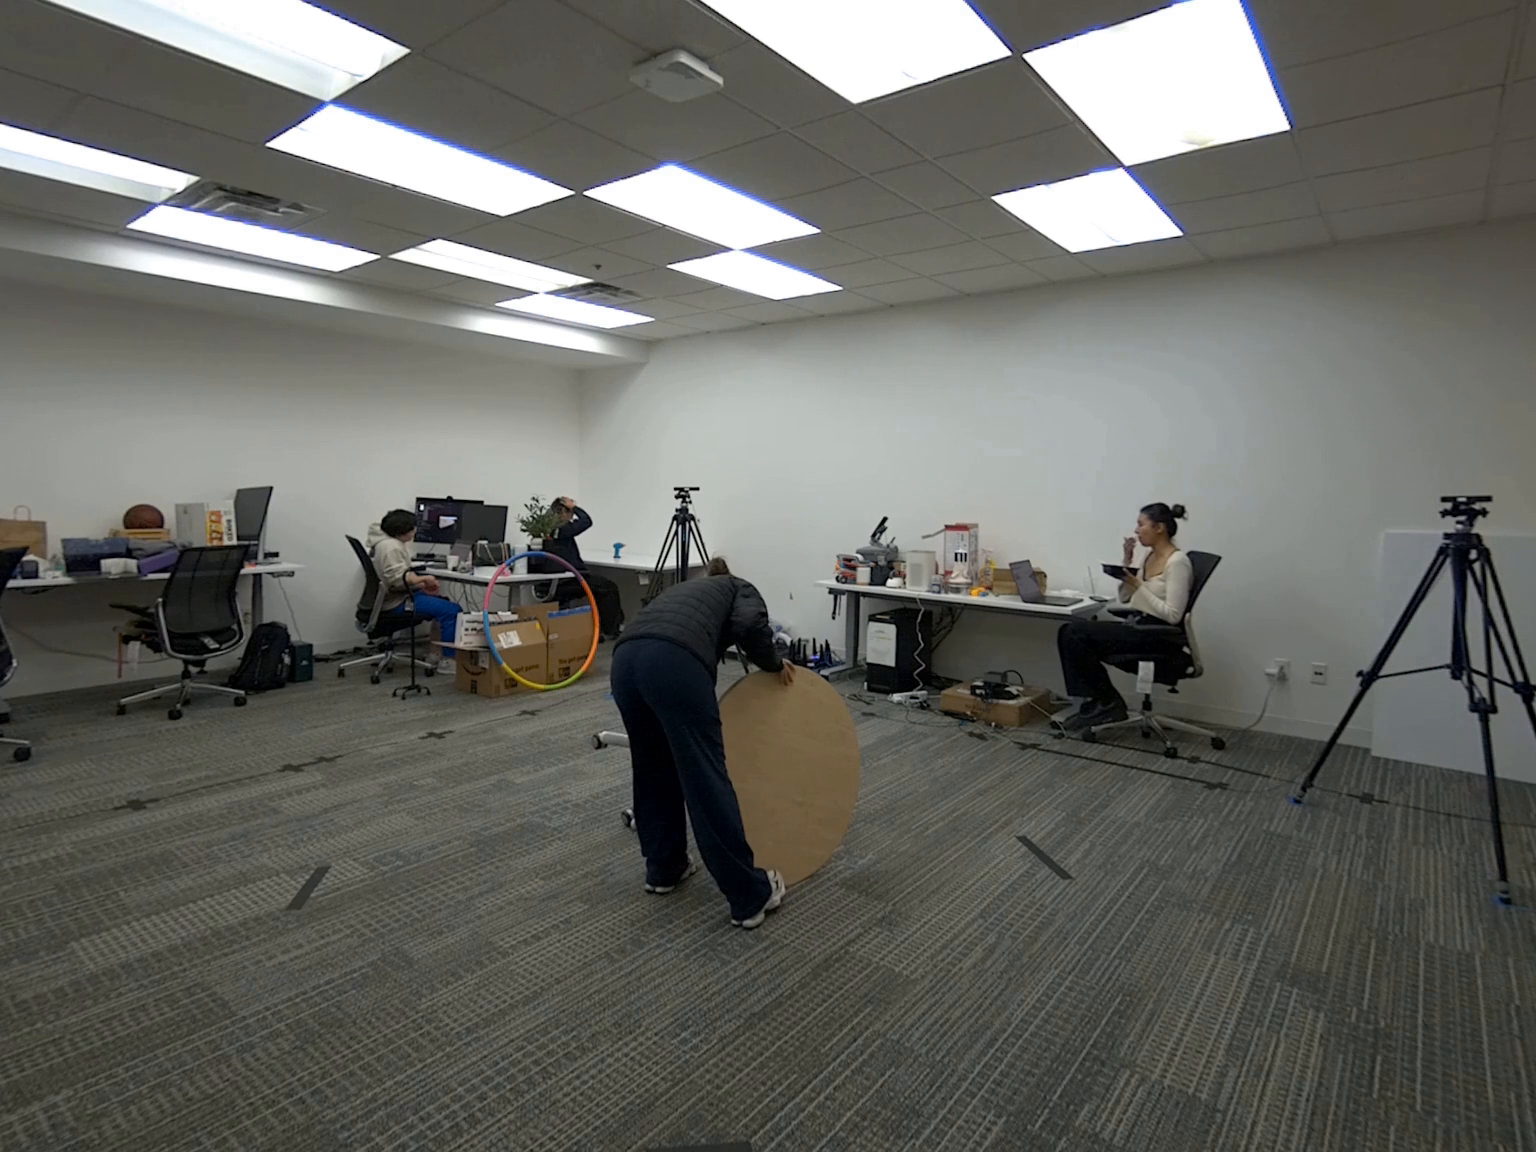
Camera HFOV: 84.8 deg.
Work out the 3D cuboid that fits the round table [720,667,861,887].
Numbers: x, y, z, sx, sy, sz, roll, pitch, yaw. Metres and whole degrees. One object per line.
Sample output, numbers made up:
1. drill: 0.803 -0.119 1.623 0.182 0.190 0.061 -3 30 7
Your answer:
1. round table: -0.182 0.708 3.343 0.761 0.787 0.808 -3 -2 -40
